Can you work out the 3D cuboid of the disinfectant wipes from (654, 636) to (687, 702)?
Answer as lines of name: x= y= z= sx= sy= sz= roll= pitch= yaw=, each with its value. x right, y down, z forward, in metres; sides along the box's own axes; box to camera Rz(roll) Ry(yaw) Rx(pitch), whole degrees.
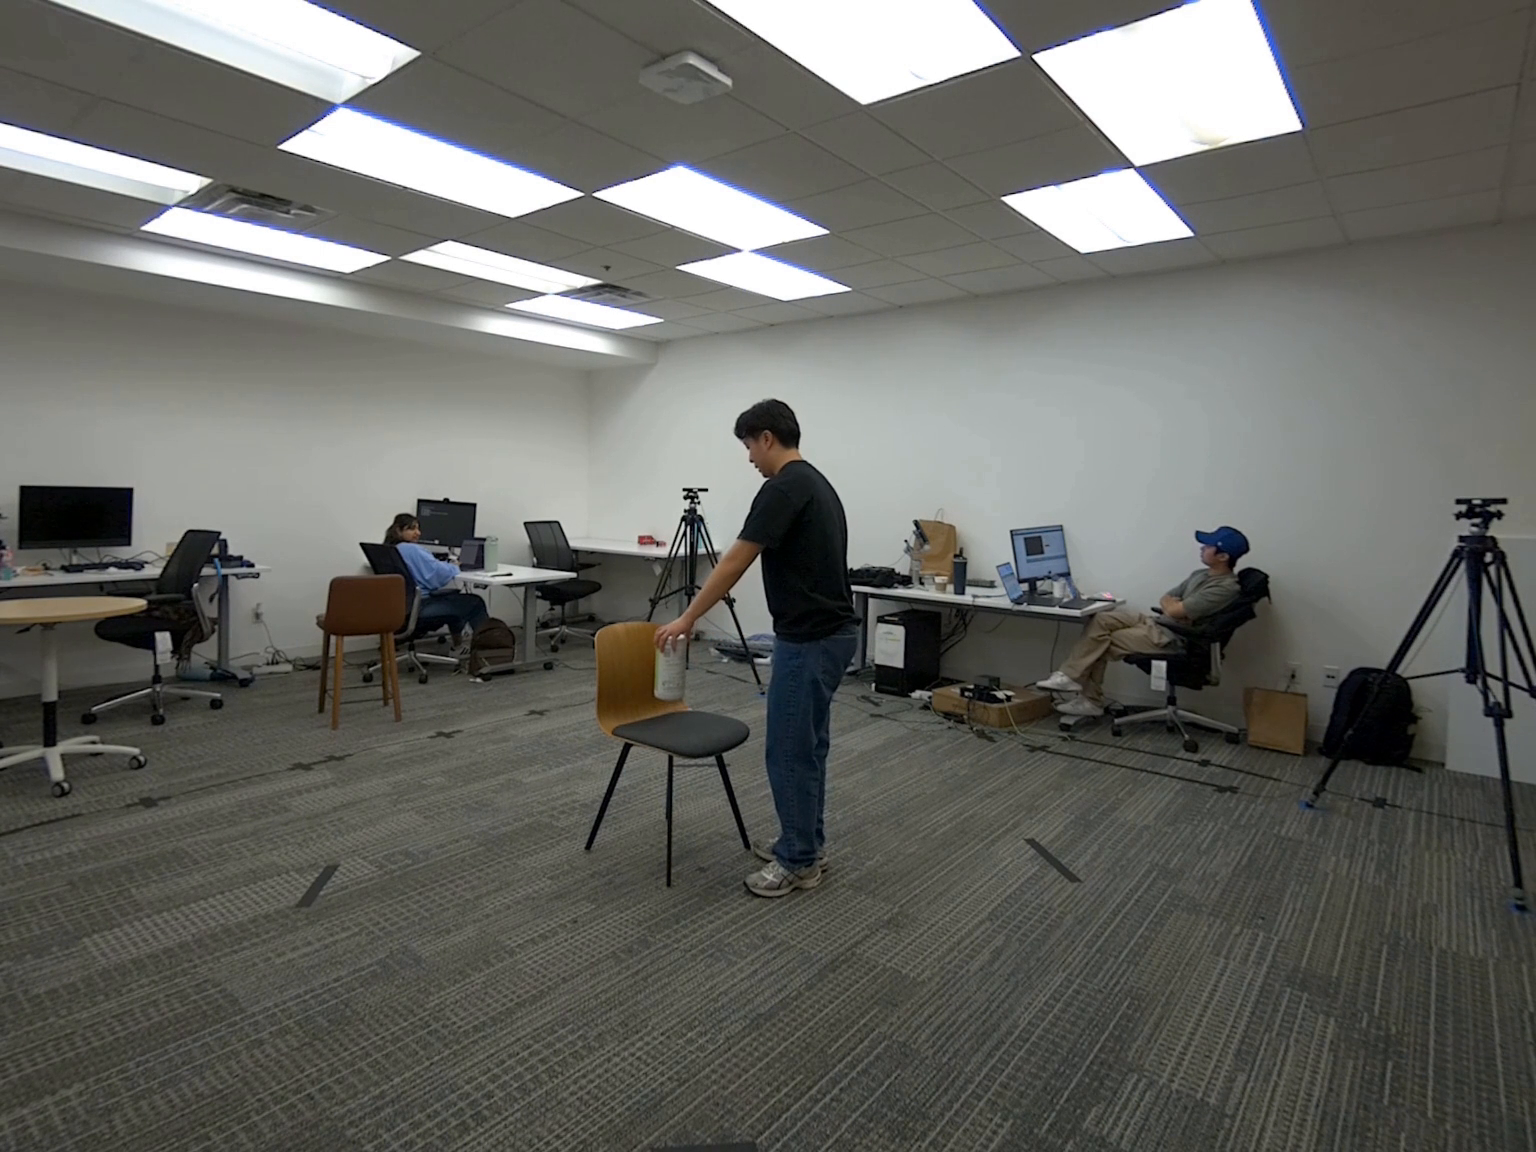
disinfectant wipes: x=-0.349 y=0.314 z=2.993 sx=0.117 sy=0.216 sz=0.118 roll=3 pitch=6 yaw=-2
